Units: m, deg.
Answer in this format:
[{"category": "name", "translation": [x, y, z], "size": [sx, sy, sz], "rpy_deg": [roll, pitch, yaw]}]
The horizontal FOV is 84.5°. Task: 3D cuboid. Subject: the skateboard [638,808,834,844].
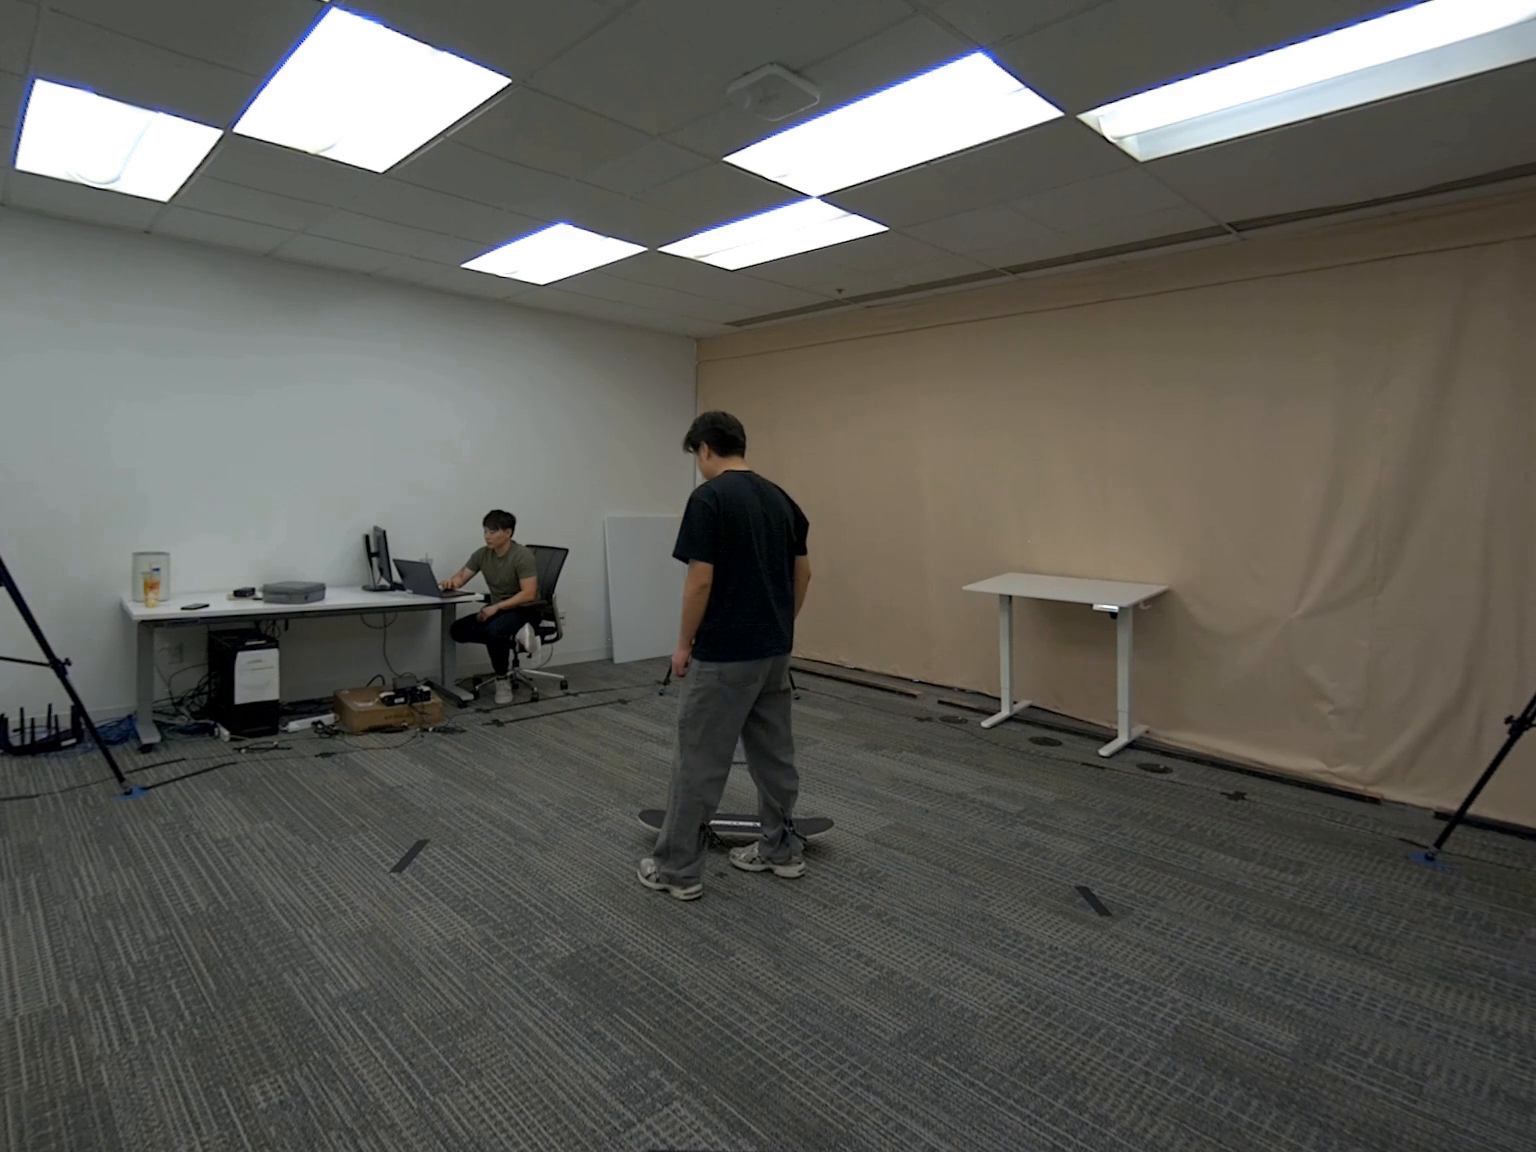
[{"category": "skateboard", "translation": [-0.136, 1.021, 3.373], "size": [0.788, 0.110, 0.193], "rpy_deg": [2, 3, 4]}]
